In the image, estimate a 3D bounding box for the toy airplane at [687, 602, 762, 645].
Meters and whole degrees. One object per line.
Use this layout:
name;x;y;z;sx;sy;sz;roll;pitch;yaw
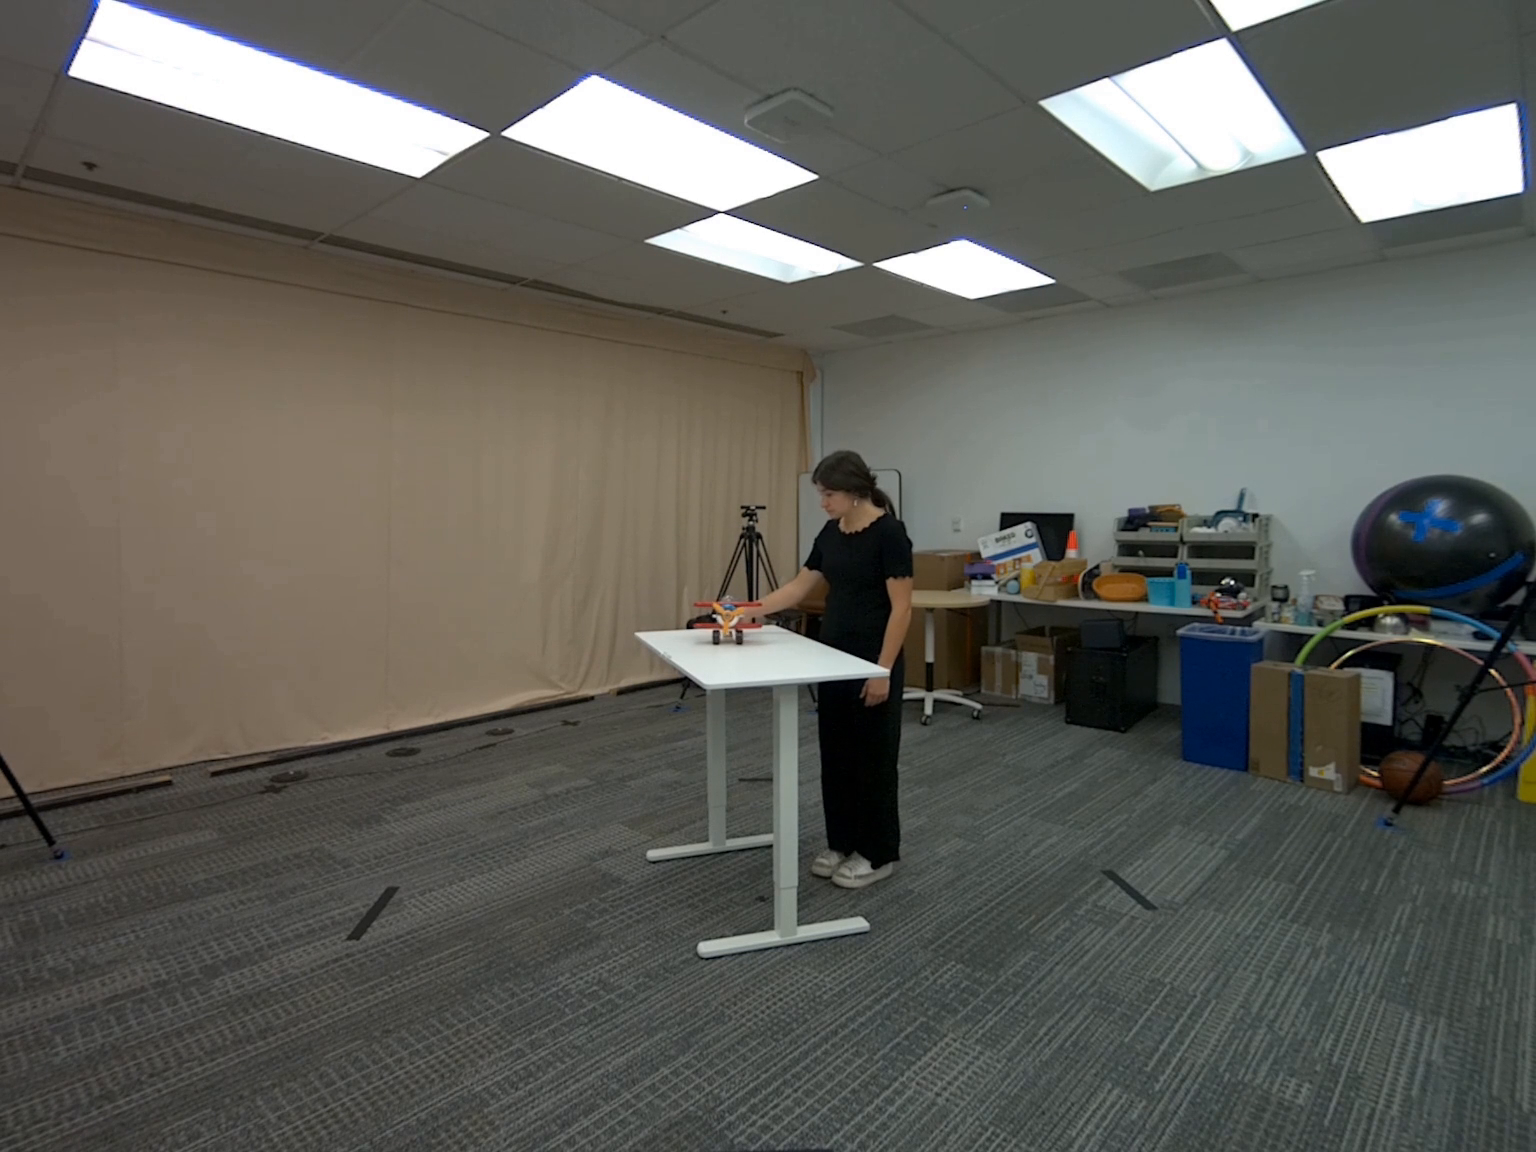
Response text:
toy airplane;-0.167;0.162;3.170;0.245;0.155;0.267;-5;12;-27
